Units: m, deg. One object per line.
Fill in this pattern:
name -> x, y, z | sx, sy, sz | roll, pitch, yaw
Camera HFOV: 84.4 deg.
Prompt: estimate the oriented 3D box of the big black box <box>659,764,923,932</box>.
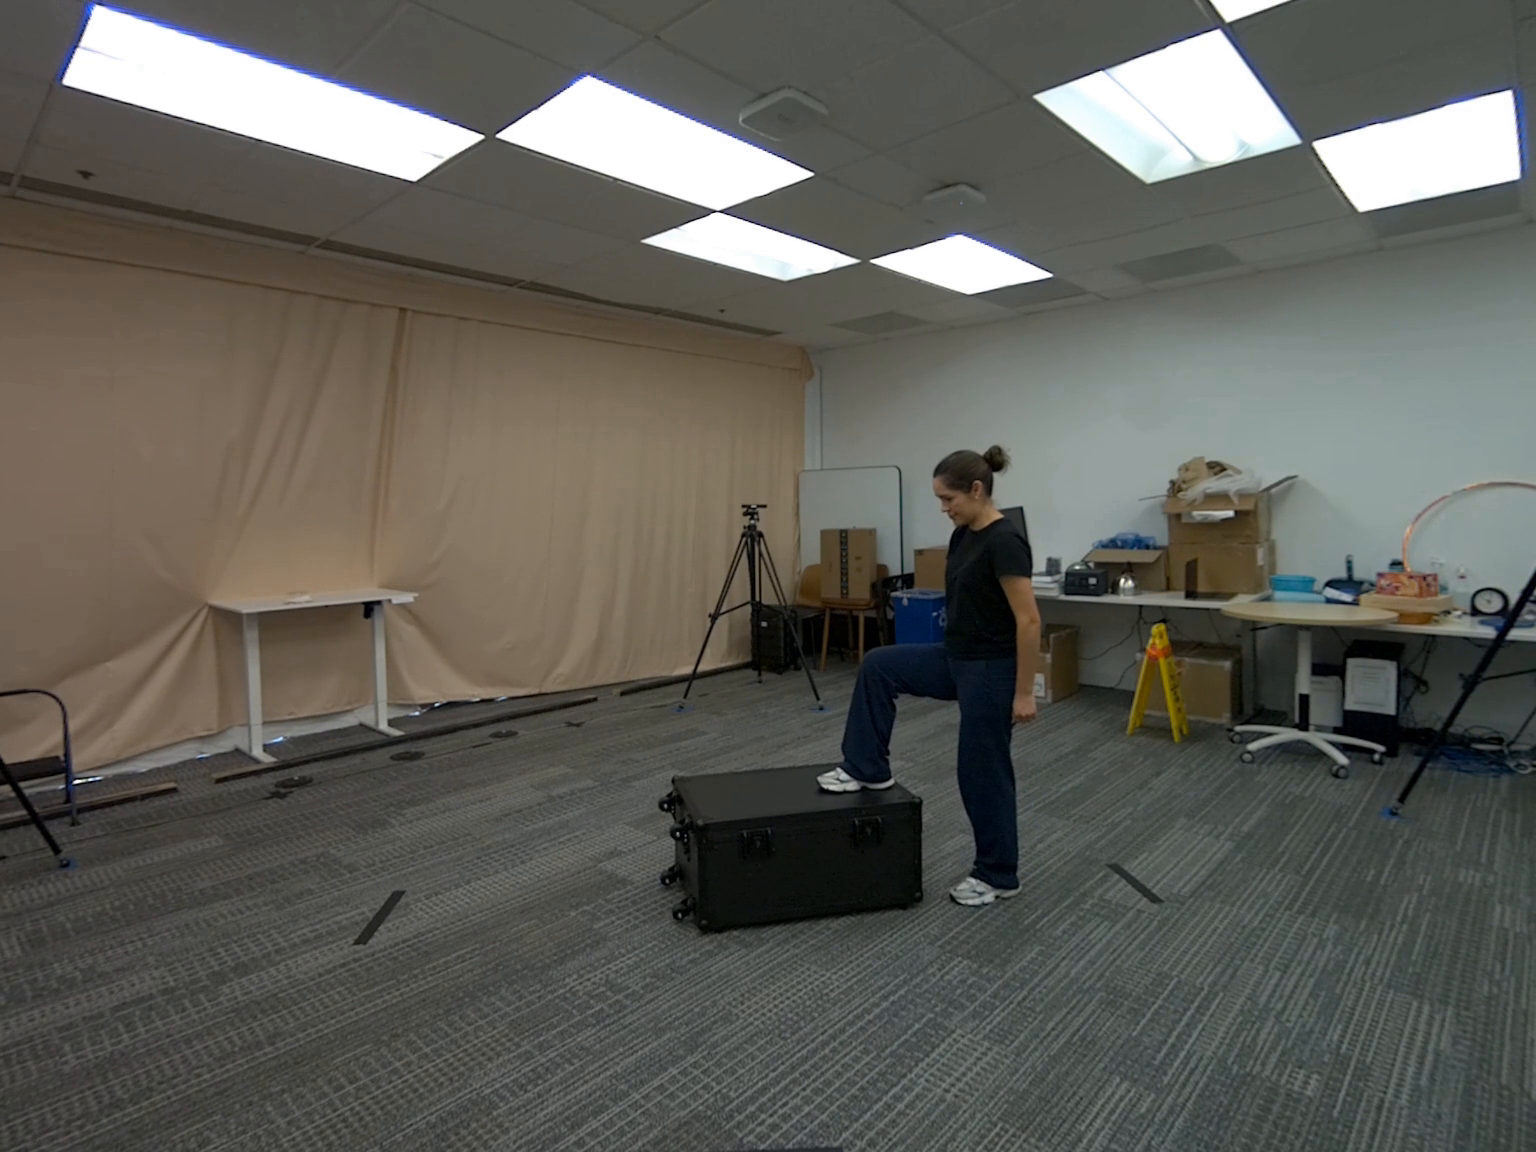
big black box -> 0.069, 0.940, 3.017 | 0.849, 0.395, 0.530 | -2, 4, -14
